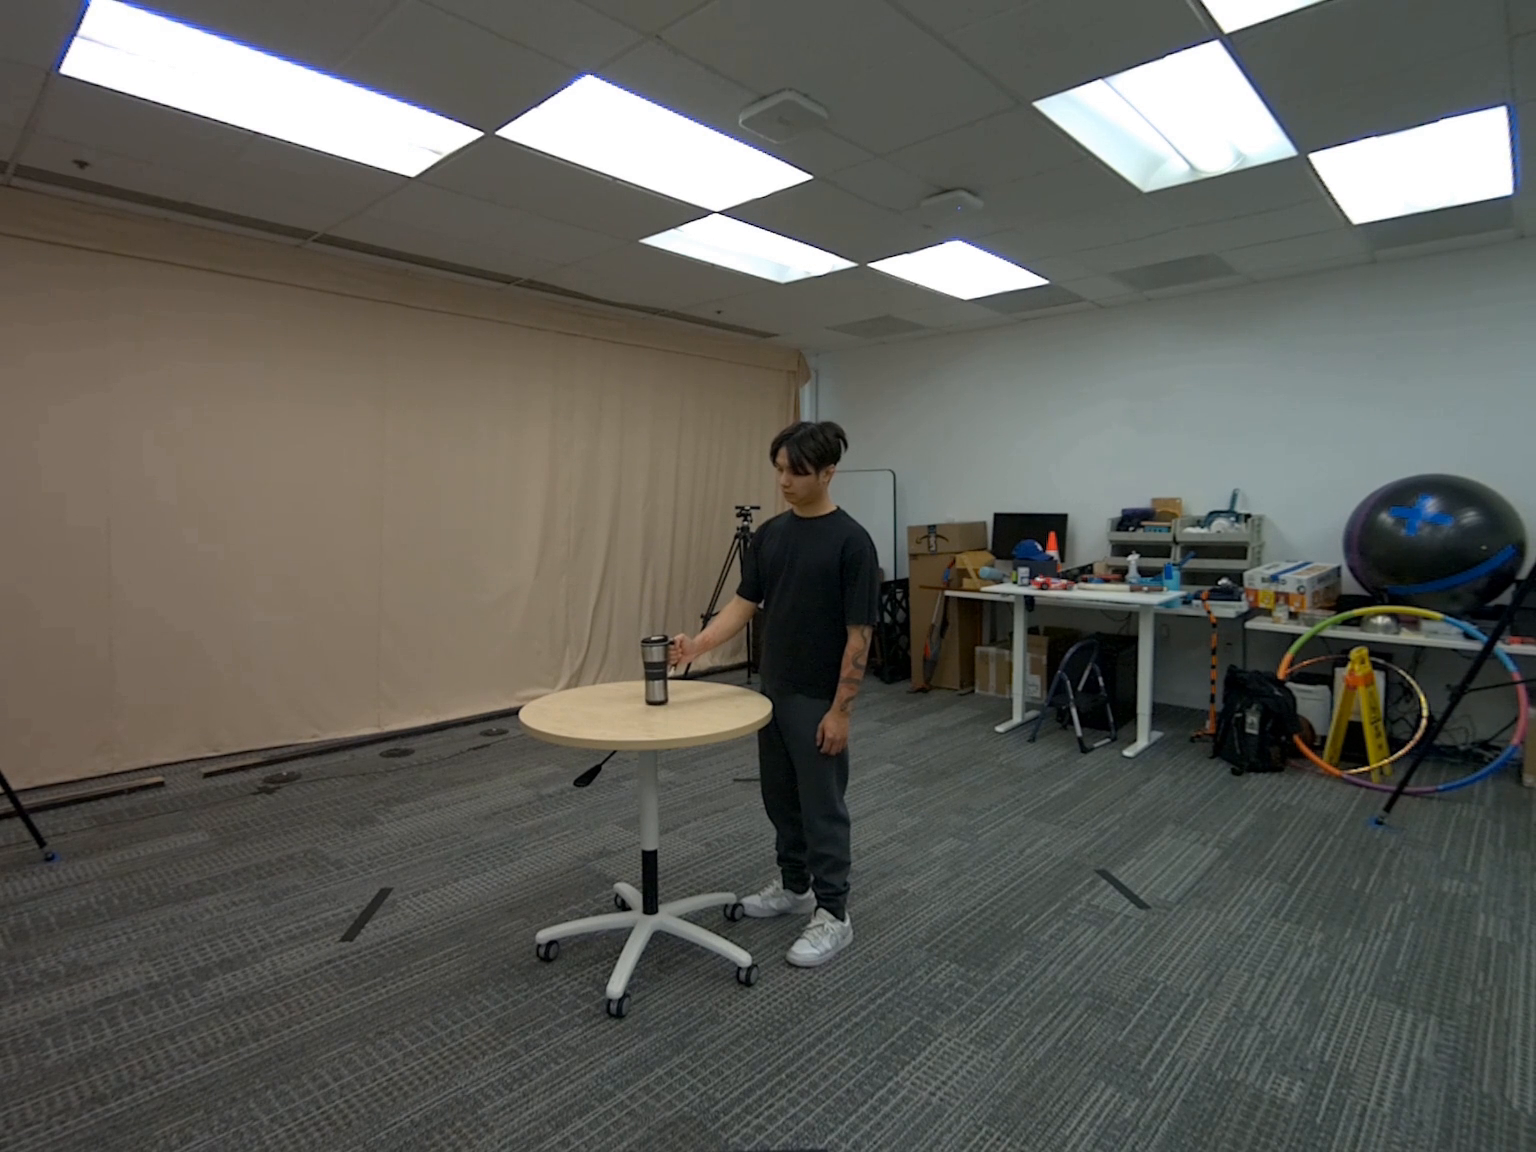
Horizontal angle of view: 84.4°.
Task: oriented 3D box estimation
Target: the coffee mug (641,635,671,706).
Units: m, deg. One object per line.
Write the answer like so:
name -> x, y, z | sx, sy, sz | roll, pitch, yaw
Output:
coffee mug -> -0.321, 0.293, 2.612 | 0.119, 0.203, 0.090 | -4, 1, -31
